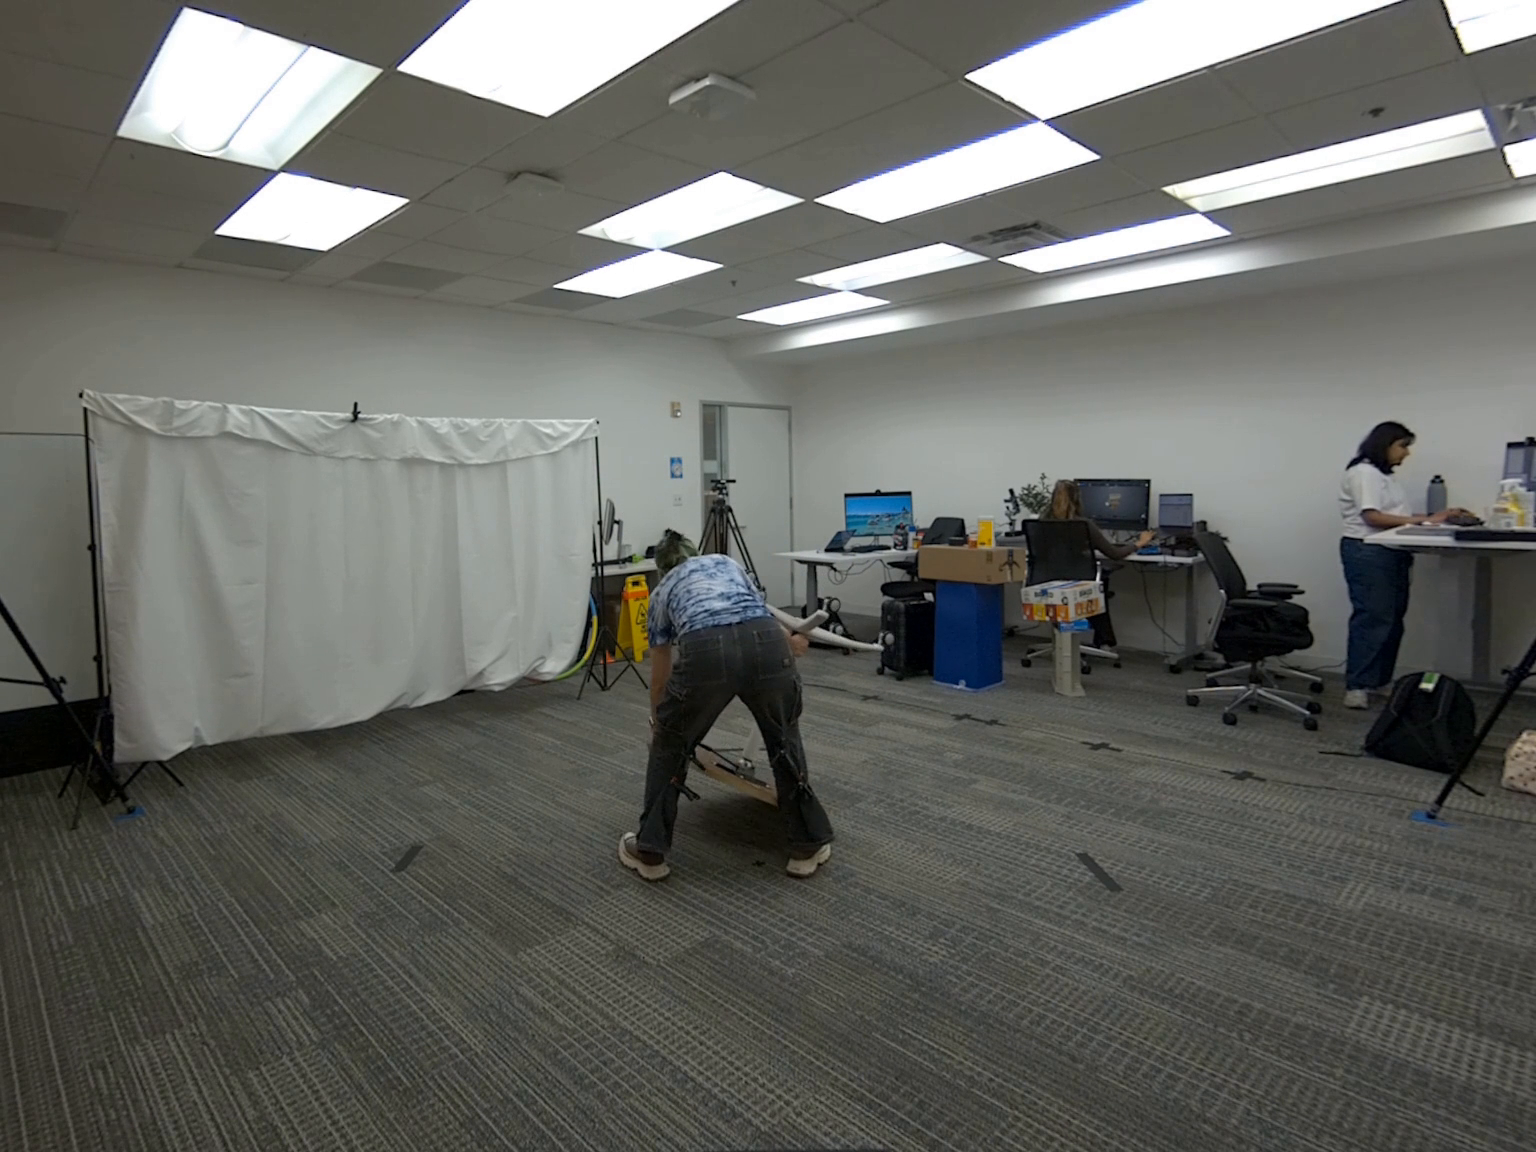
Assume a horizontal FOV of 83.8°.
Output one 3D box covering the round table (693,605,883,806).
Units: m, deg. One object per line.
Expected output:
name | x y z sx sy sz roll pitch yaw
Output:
round table | 0.038 0.475 3.513 0.767 0.798 0.757 22 -10 2
